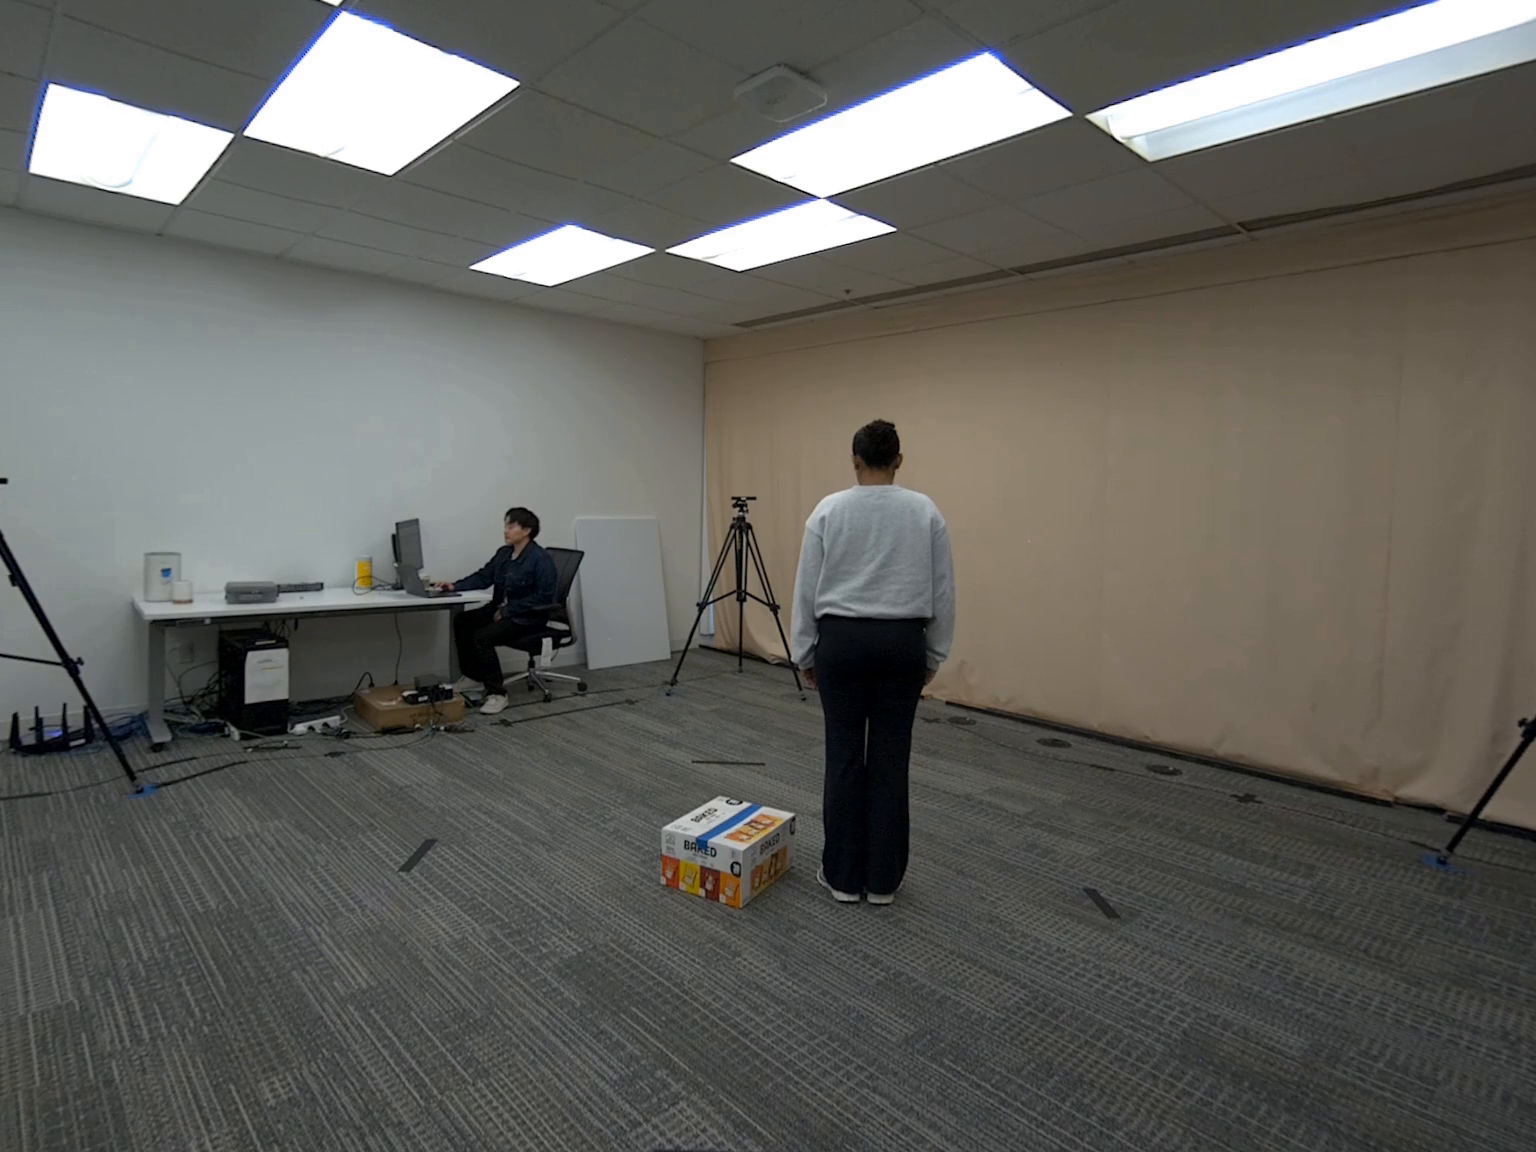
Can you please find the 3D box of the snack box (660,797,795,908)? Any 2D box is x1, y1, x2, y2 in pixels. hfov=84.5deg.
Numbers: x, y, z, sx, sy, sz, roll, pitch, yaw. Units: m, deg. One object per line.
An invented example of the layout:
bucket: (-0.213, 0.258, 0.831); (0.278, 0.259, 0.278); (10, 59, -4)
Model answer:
snack box: (-0.148, 1.006, 3.104); (0.348, 0.205, 0.397); (4, 6, 30)
